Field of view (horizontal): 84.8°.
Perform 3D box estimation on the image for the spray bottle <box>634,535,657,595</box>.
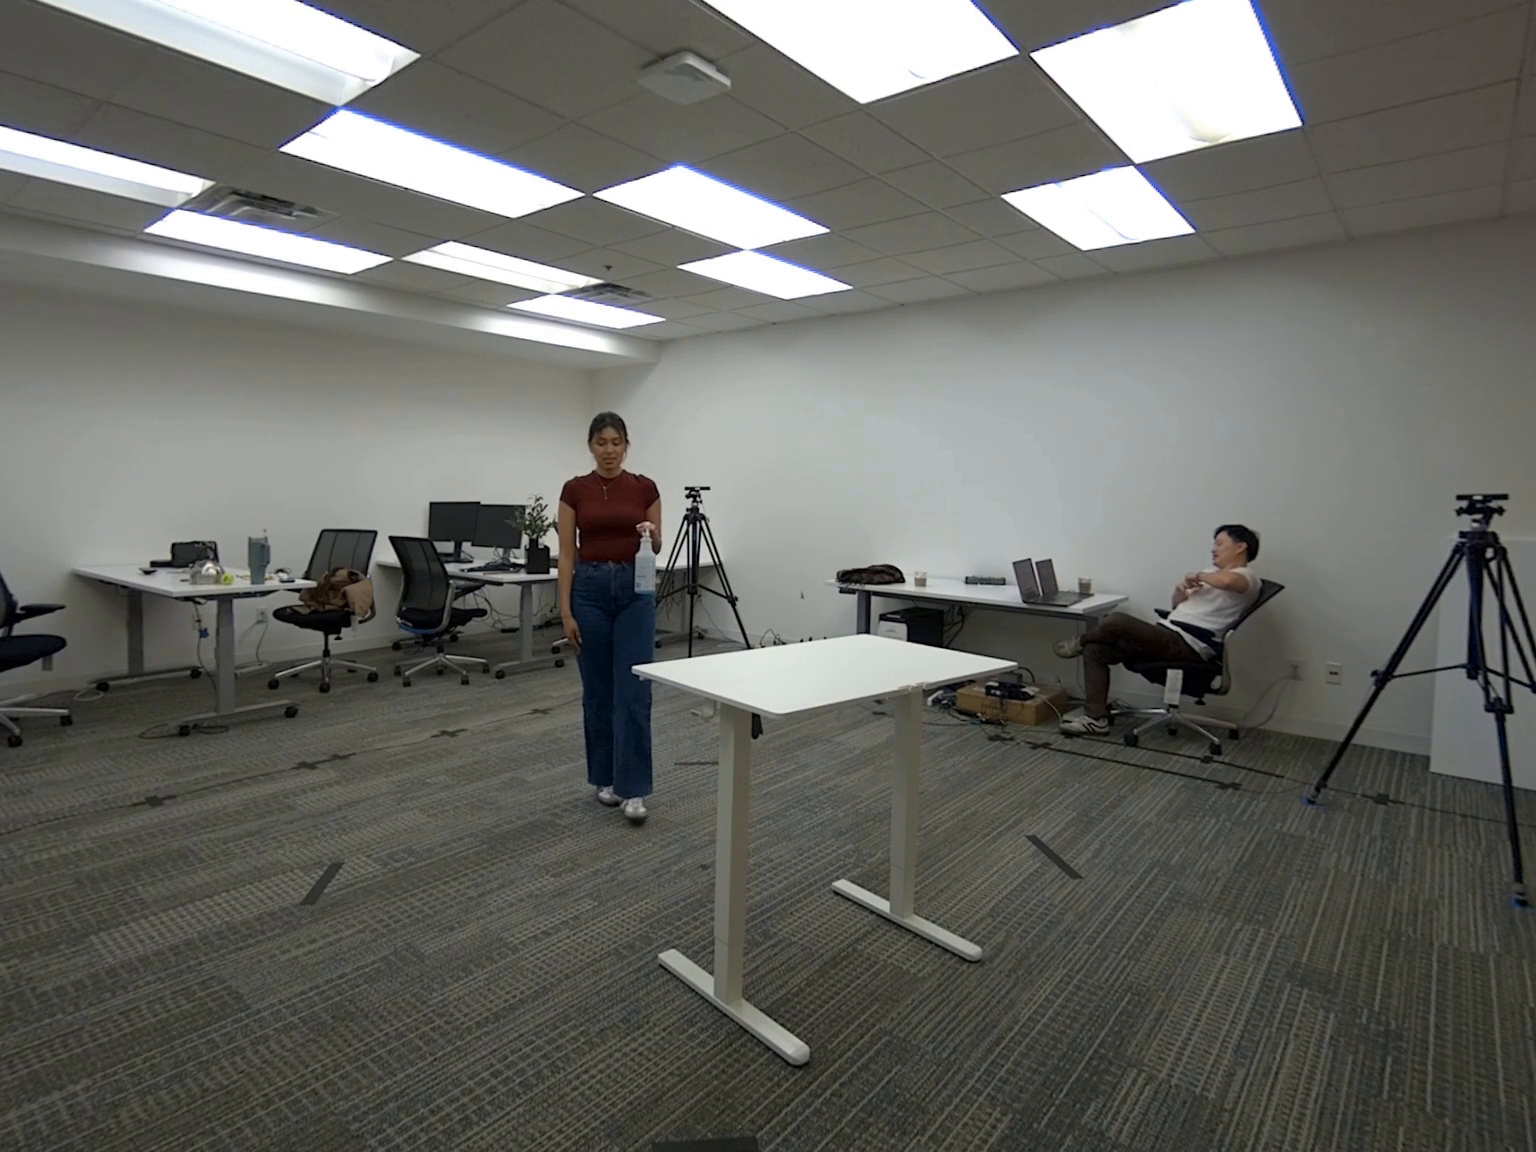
[{"bbox_3d":[-0.533,-0.076,3.549,0.088,0.296,0.089,0,3,15],"label":"spray bottle"}]
